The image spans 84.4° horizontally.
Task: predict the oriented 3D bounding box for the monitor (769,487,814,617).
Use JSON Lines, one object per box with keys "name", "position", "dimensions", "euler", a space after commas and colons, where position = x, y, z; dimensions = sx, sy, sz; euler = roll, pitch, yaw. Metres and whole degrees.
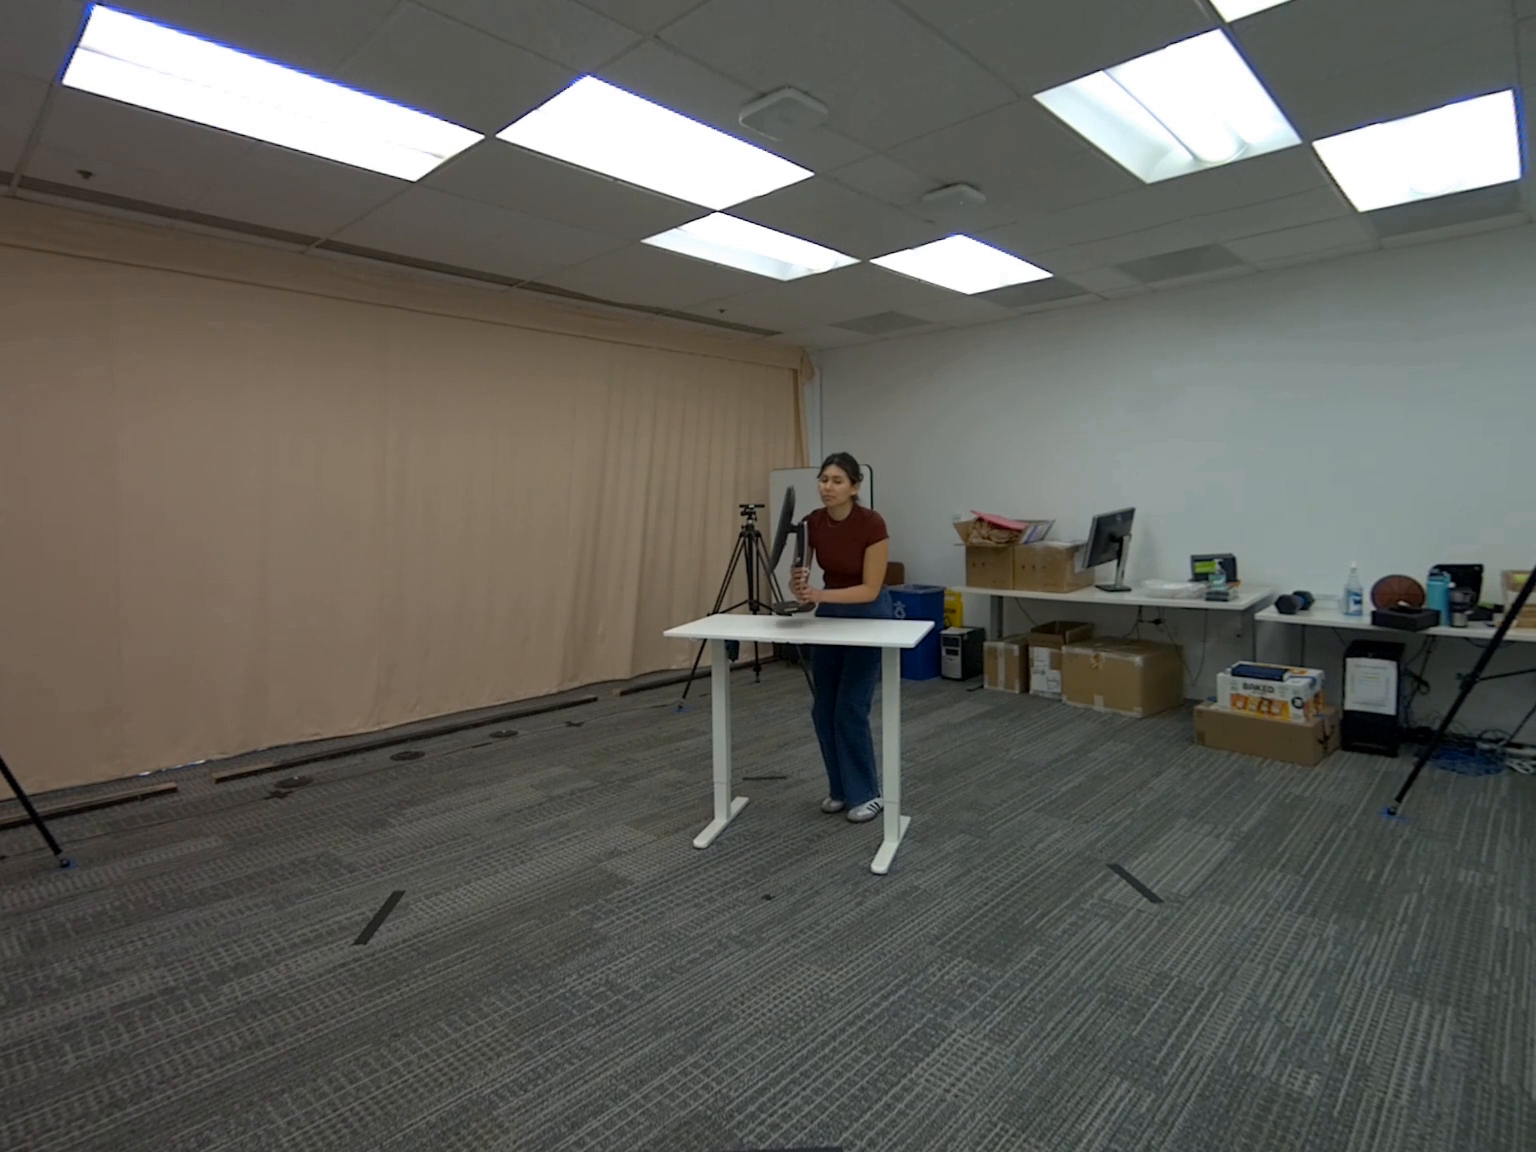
{"name": "monitor", "position": [0.097, -0.115, 3.547], "dimensions": [0.188, 0.520, 0.539], "euler": [-2, 6, 3]}
